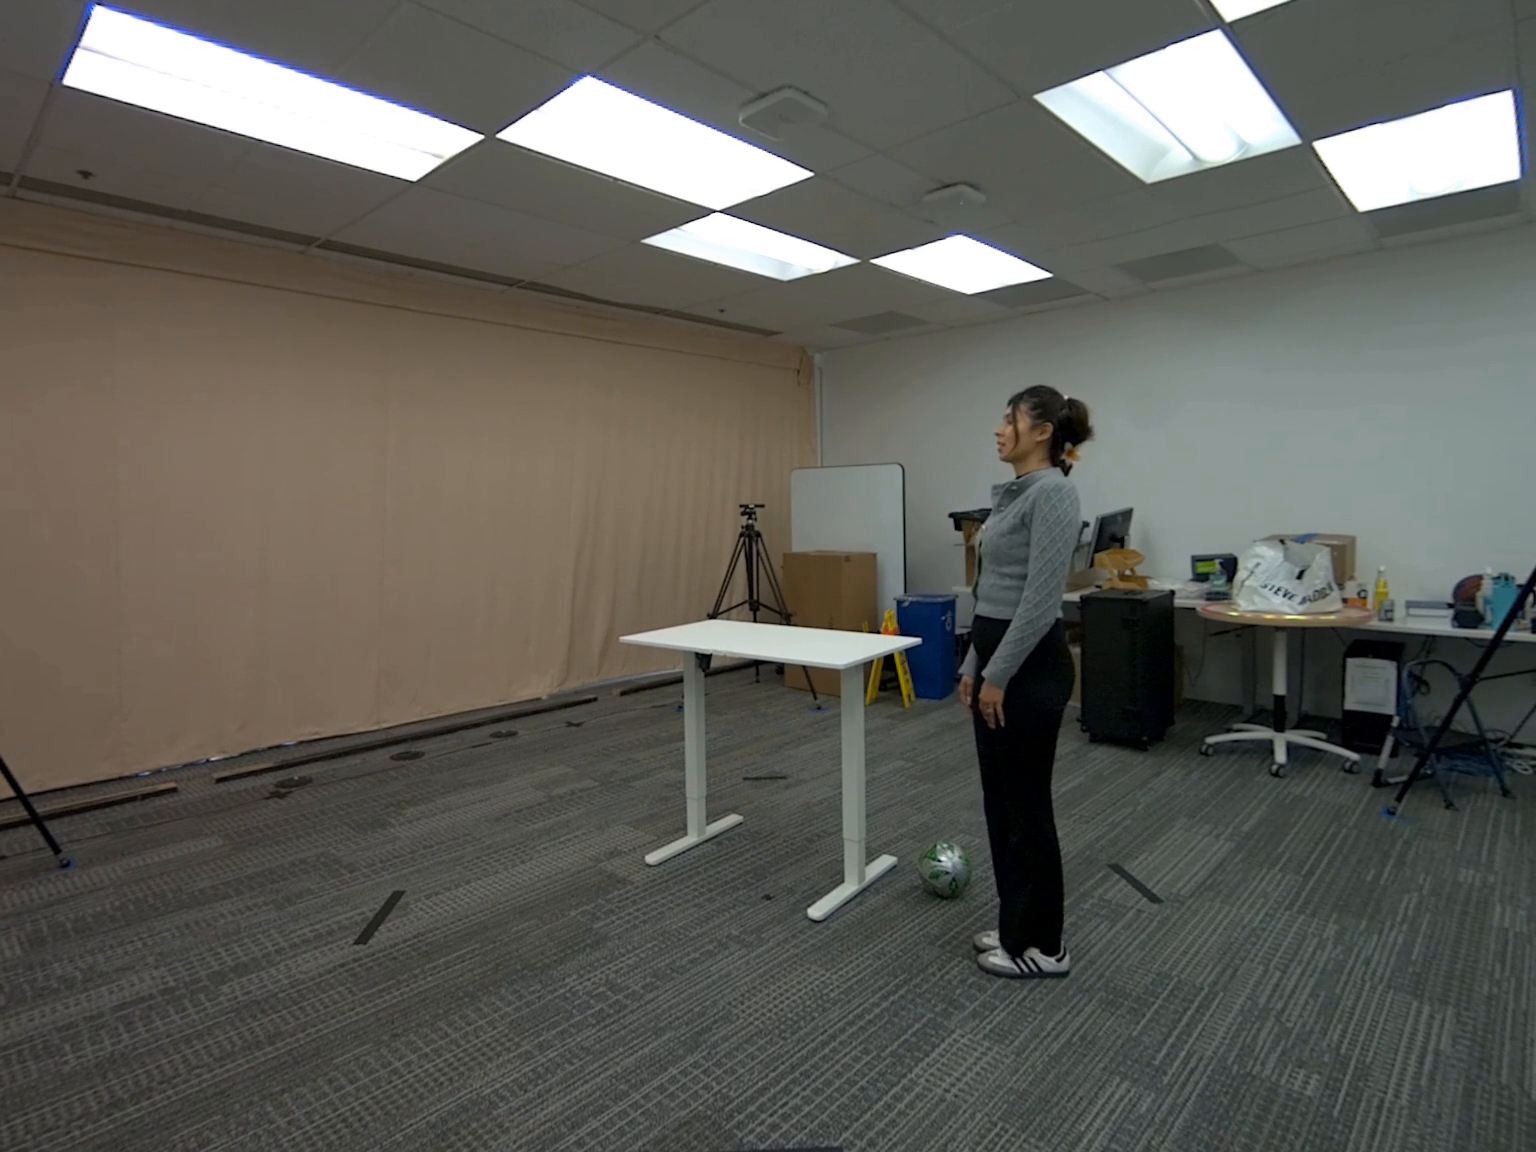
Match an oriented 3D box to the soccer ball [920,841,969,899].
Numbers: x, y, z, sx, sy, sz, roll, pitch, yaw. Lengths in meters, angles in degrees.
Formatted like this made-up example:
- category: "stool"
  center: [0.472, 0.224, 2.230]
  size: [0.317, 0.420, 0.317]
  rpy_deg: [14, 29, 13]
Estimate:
- category: "soccer ball"
  center: [0.633, 1.036, 2.979]
  size: [0.187, 0.187, 0.188]
  rpy_deg: [-1, 4, -2]
